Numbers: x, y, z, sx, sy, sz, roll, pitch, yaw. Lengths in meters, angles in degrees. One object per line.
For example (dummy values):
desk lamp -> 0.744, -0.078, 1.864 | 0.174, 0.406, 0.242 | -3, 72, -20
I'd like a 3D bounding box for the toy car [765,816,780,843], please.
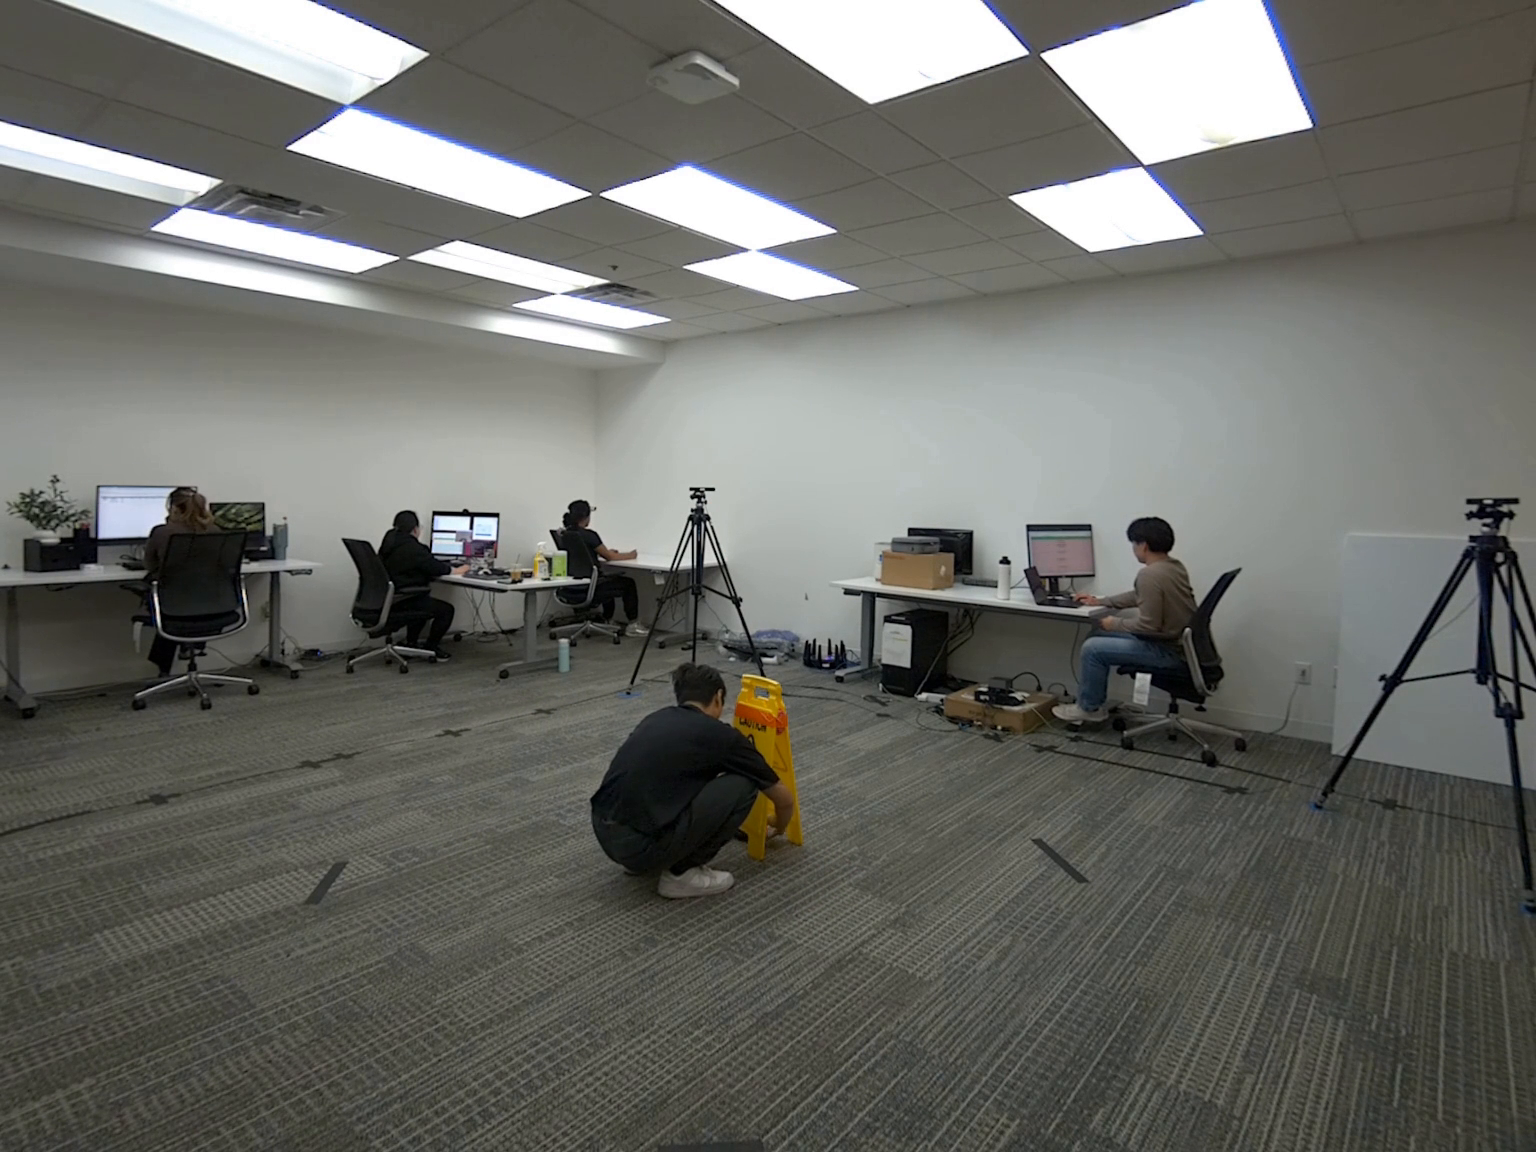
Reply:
toy car -> -0.127, 1.006, 3.451 | 0.262, 0.083, 0.126 | -5, -2, 41
